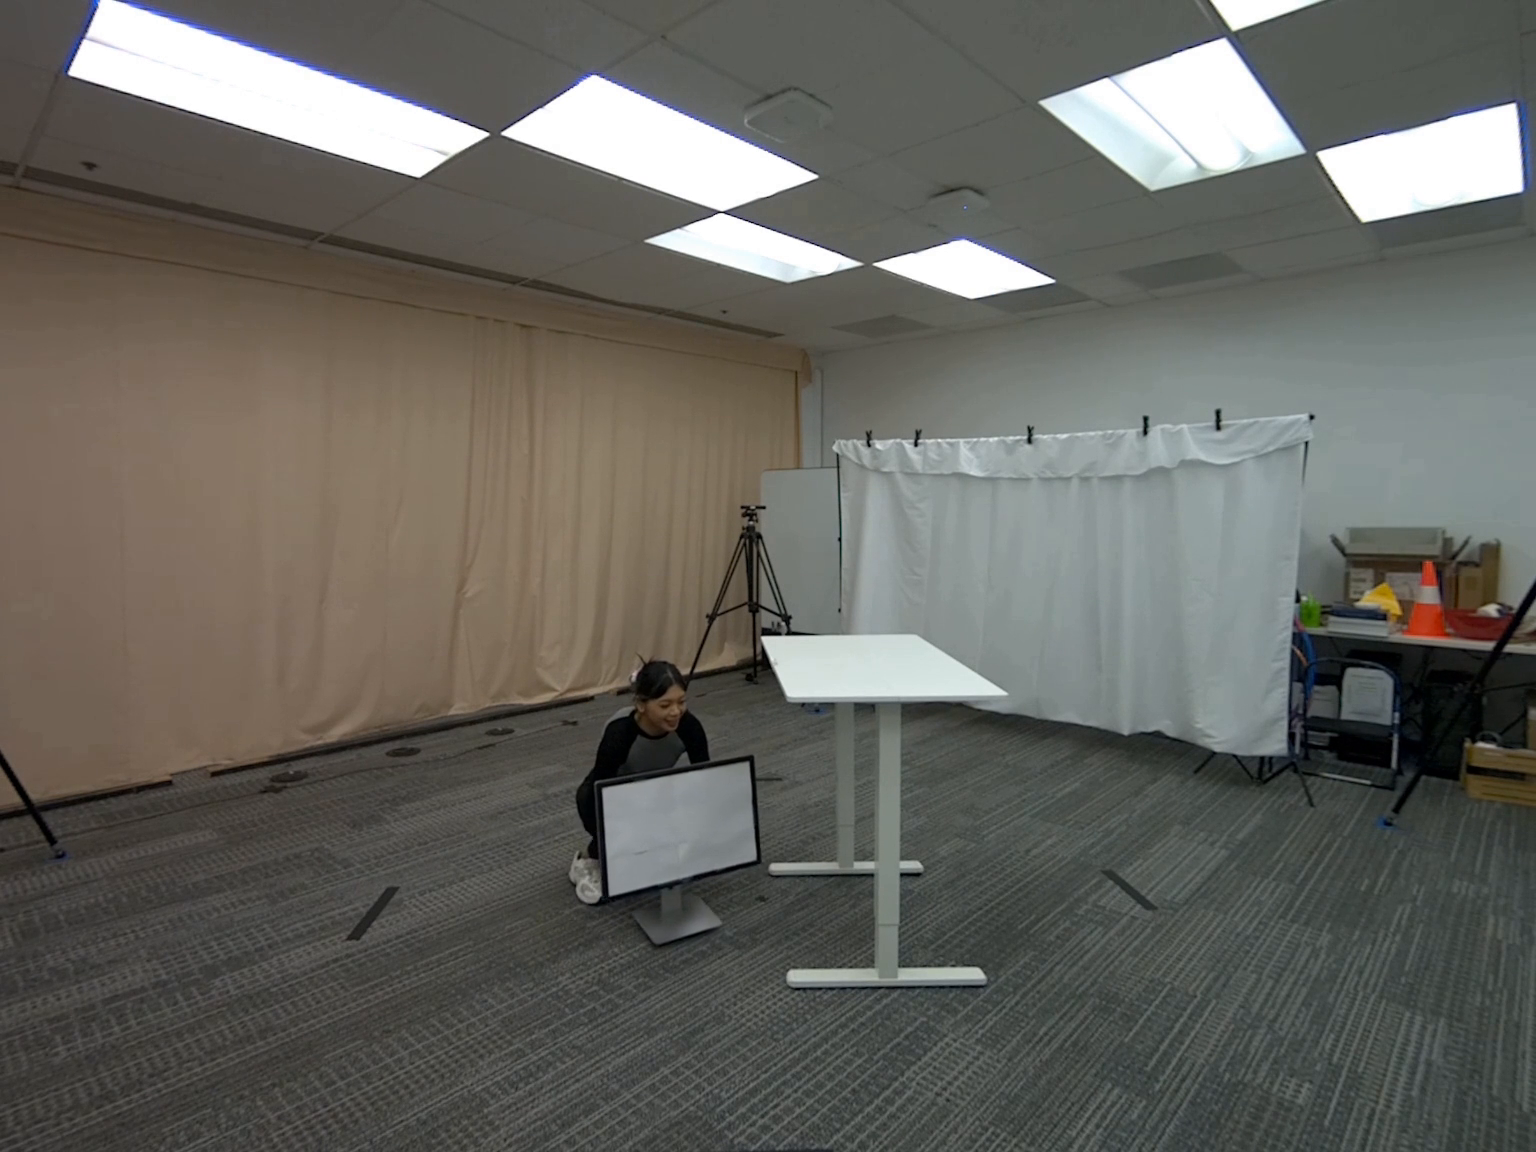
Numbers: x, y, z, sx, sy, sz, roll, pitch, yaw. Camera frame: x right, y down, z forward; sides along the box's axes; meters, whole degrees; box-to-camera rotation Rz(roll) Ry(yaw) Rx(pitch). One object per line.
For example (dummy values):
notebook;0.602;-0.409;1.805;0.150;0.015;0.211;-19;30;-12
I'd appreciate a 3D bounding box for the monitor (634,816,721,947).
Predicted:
monitor;-0.296;0.874;2.745;0.525;0.520;0.193;-5;10;-31
